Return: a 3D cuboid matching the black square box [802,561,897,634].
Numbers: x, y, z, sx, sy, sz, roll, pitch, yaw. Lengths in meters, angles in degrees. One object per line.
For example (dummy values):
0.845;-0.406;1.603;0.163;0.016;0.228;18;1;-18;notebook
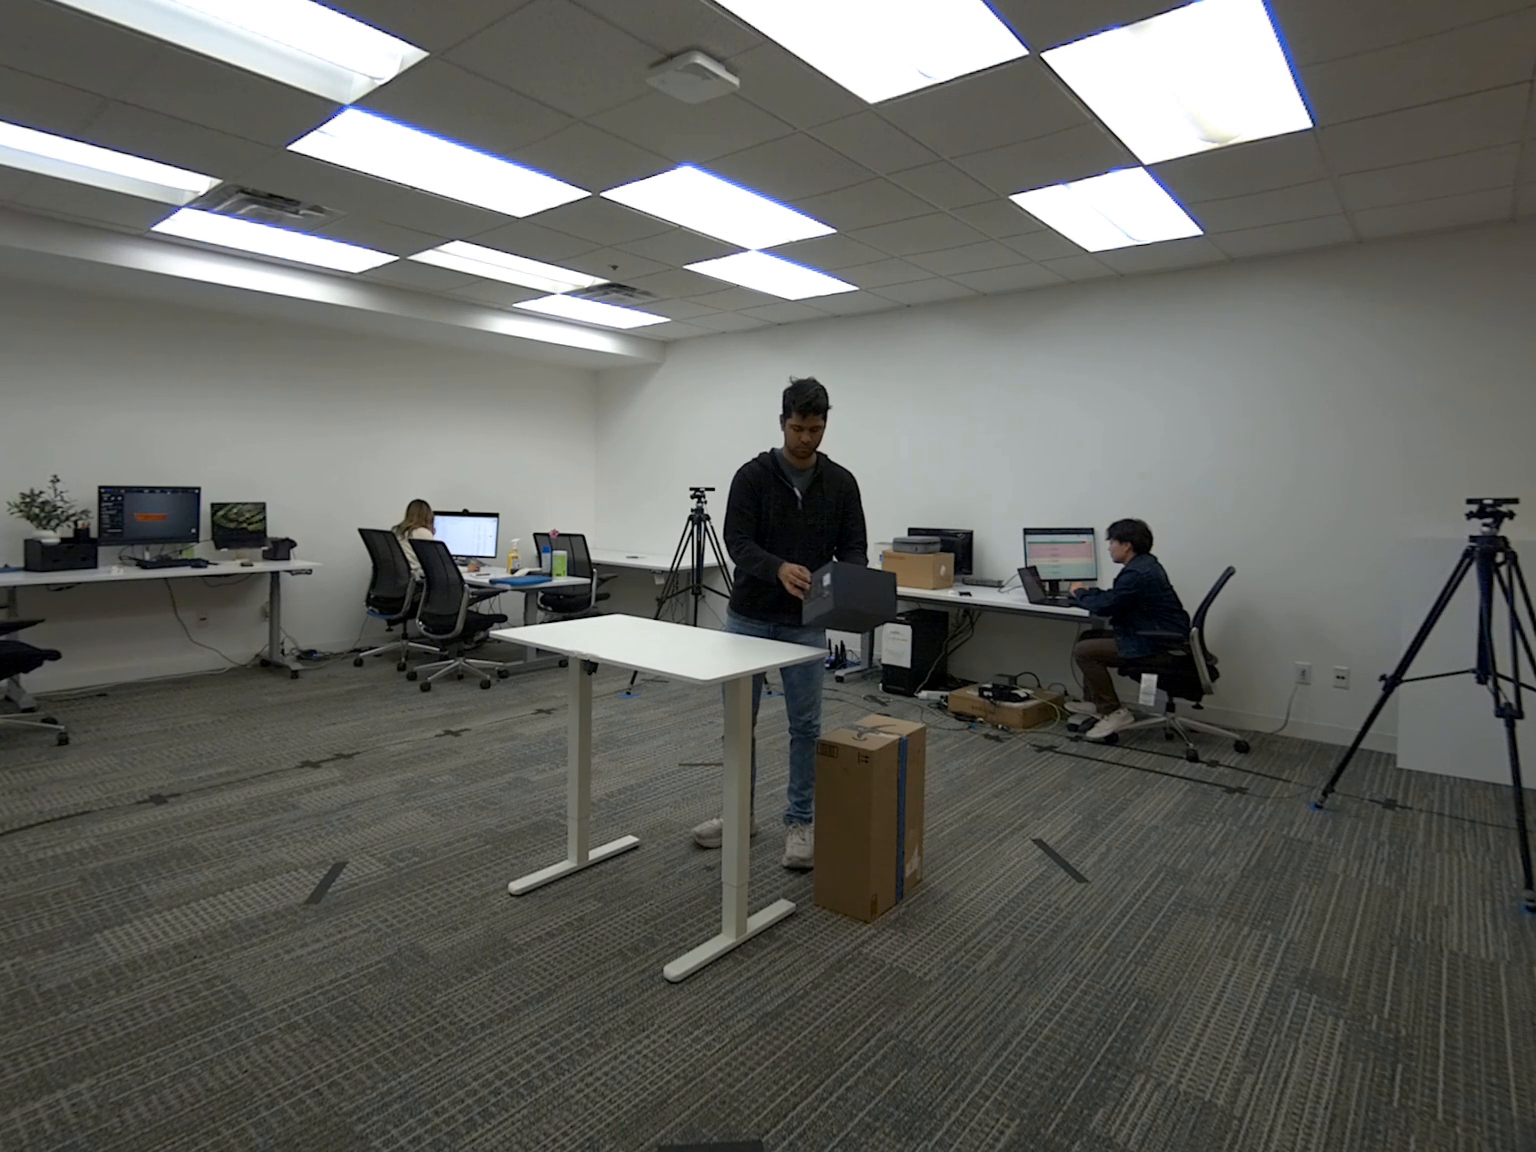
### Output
0.244;0.080;2.749;0.223;0.159;0.218;10;-22;-19;black square box
